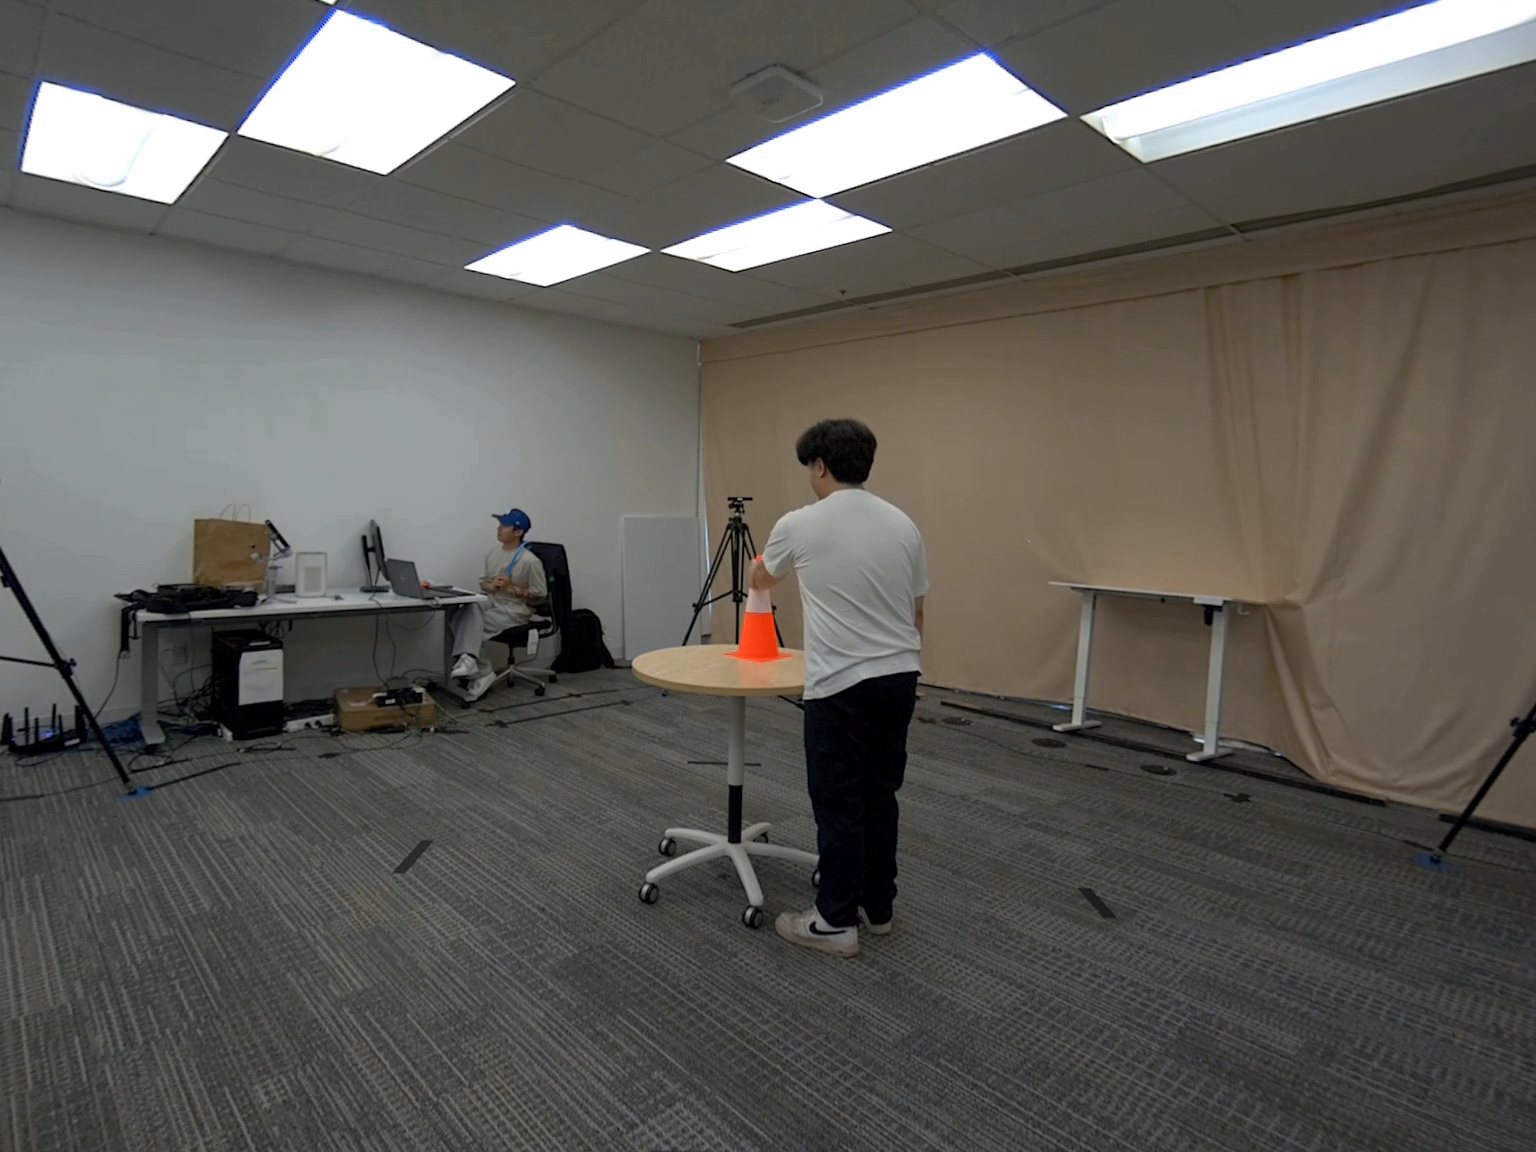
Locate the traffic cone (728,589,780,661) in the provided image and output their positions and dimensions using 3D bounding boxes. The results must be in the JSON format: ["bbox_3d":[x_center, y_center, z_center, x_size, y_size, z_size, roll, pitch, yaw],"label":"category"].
[{"bbox_3d":[-0.035,0.114,3.202,0.208,0.383,0.200,5,3,37],"label":"traffic cone"}]
